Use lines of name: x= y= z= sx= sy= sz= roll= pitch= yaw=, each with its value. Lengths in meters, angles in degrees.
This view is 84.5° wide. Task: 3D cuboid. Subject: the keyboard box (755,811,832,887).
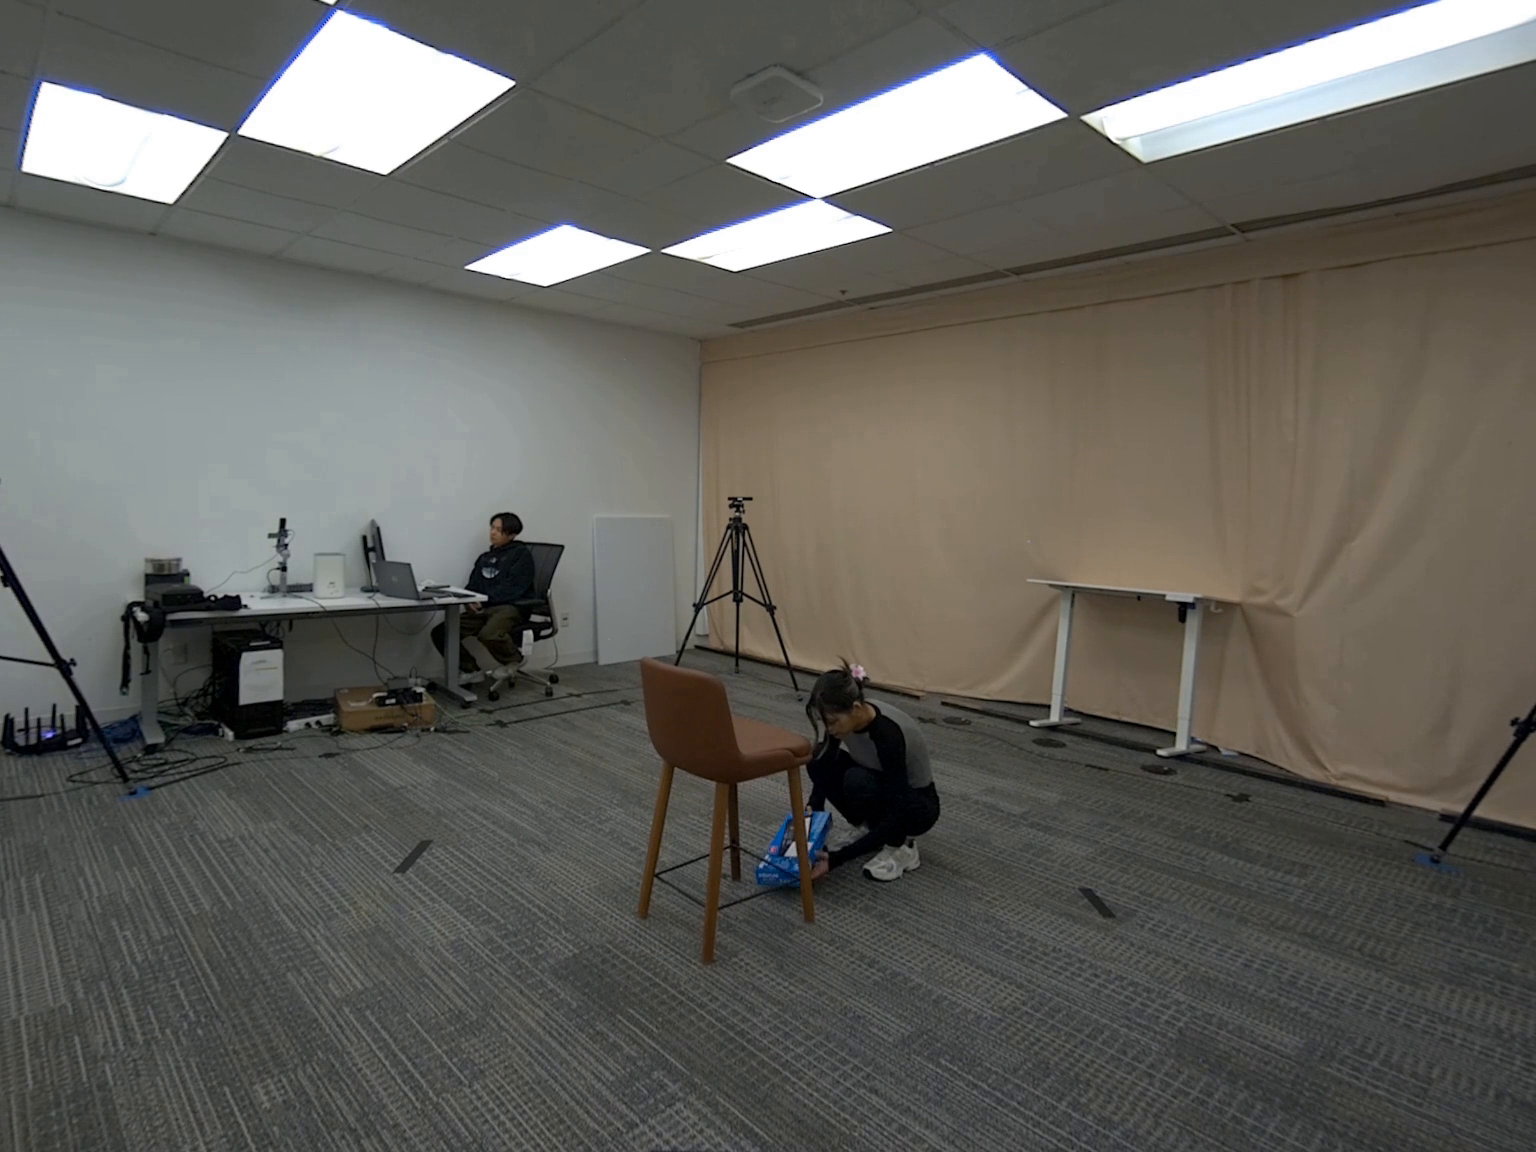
keyboard box: x=0.101 y=1.001 z=3.122 sx=0.178 sy=0.059 sz=0.433 roll=-7 pitch=9 yaw=21
